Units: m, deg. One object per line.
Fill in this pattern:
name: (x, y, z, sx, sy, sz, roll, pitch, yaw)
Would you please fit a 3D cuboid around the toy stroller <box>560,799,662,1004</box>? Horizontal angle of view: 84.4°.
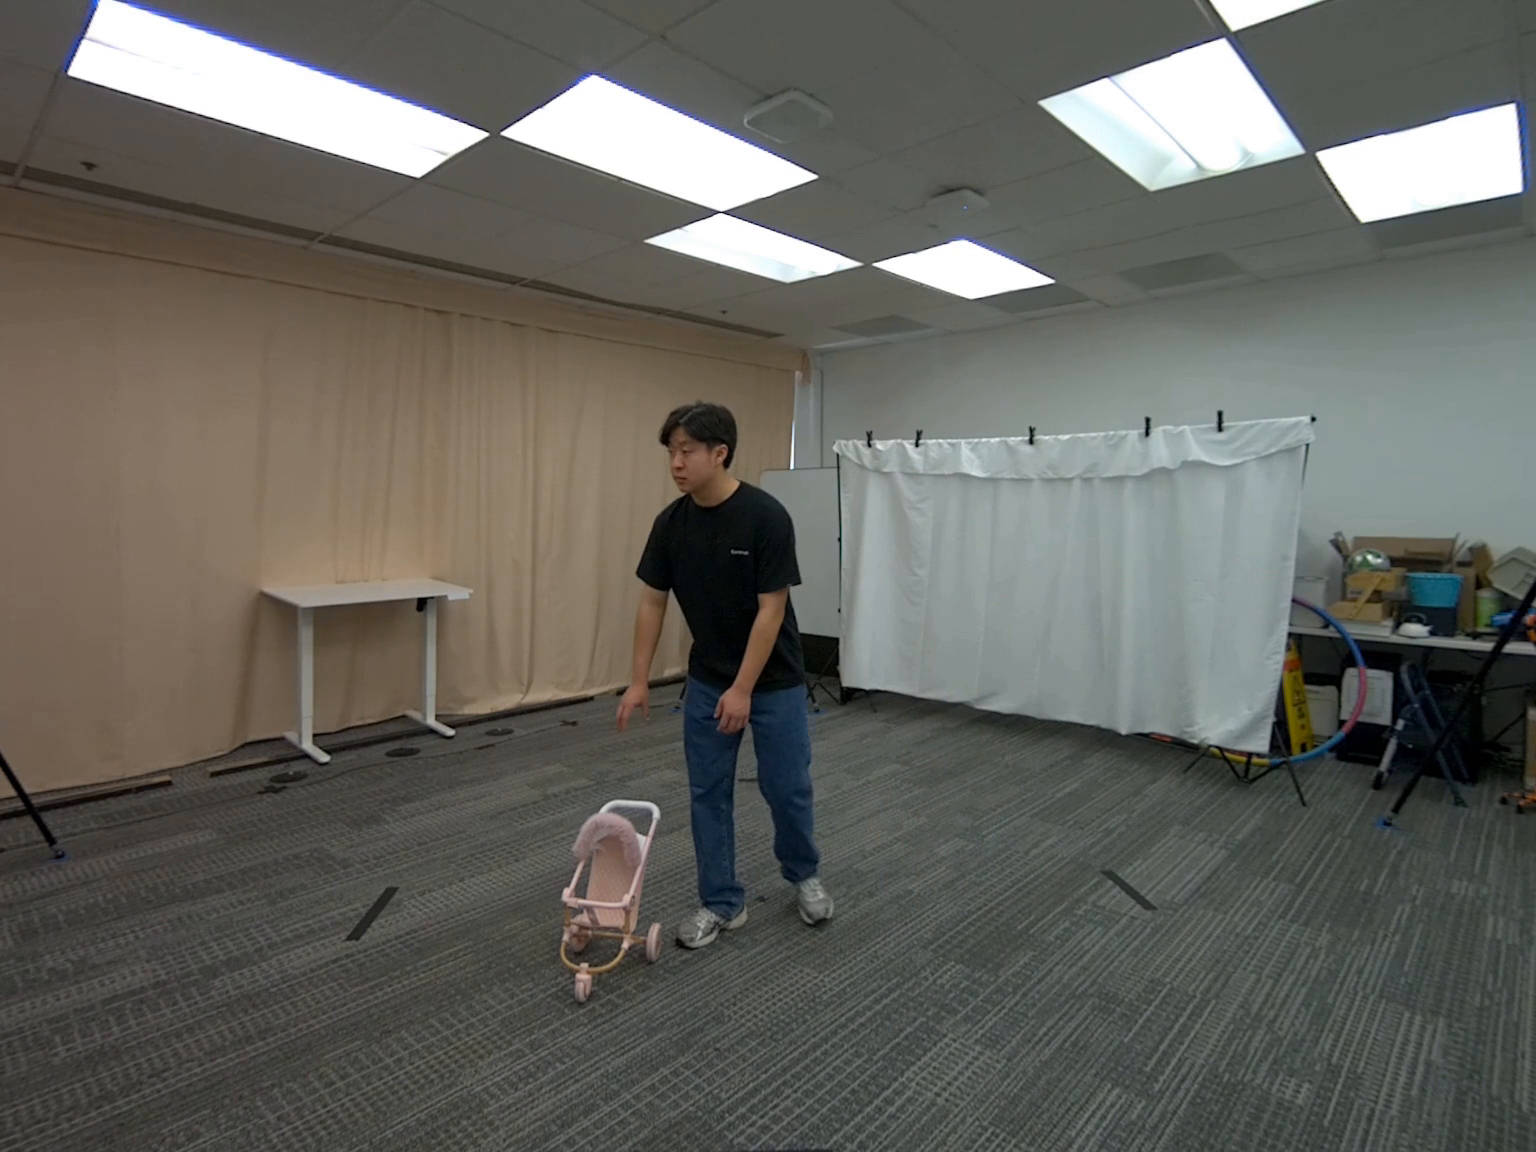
toy stroller: (-0.486, 0.964, 2.542, 0.287, 0.538, 0.333, 0, -13, 17)
